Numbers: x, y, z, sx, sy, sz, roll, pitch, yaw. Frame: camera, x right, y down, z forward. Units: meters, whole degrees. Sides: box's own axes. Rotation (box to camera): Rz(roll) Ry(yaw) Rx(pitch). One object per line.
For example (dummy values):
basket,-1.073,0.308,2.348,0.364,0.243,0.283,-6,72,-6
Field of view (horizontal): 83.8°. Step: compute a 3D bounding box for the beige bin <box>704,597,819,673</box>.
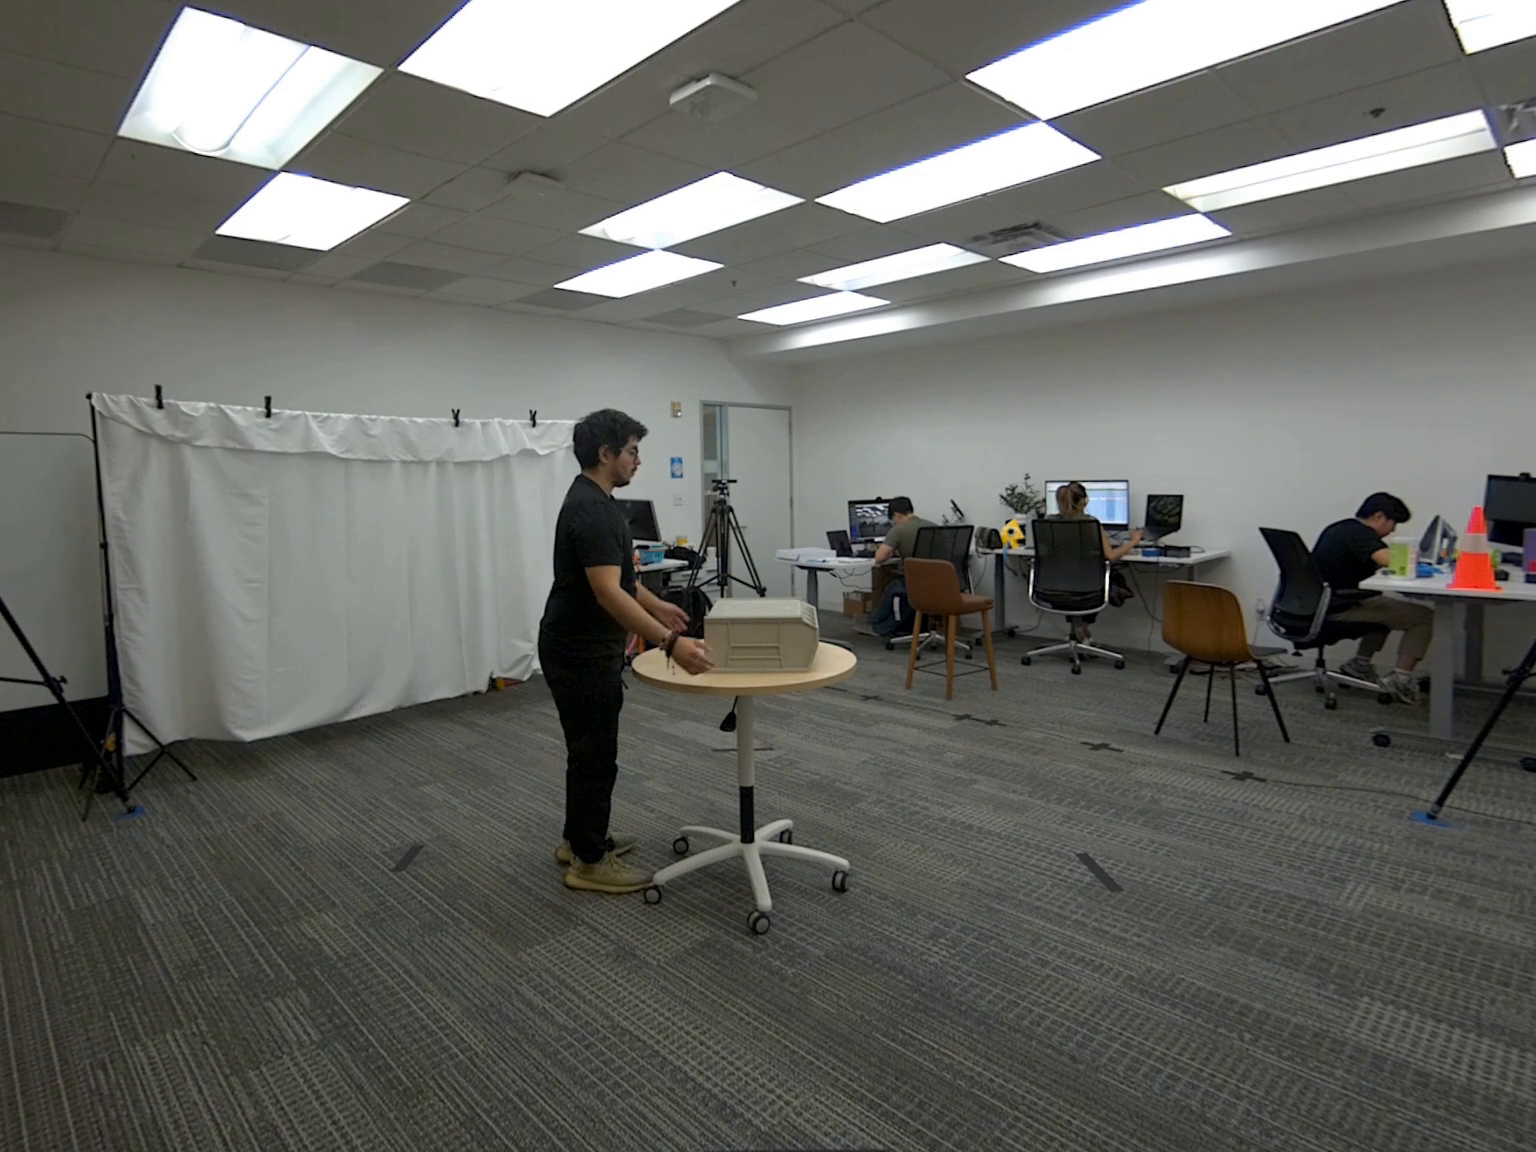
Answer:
beige bin,-0.018,0.192,2.914,0.379,0.188,0.422,-1,6,3
